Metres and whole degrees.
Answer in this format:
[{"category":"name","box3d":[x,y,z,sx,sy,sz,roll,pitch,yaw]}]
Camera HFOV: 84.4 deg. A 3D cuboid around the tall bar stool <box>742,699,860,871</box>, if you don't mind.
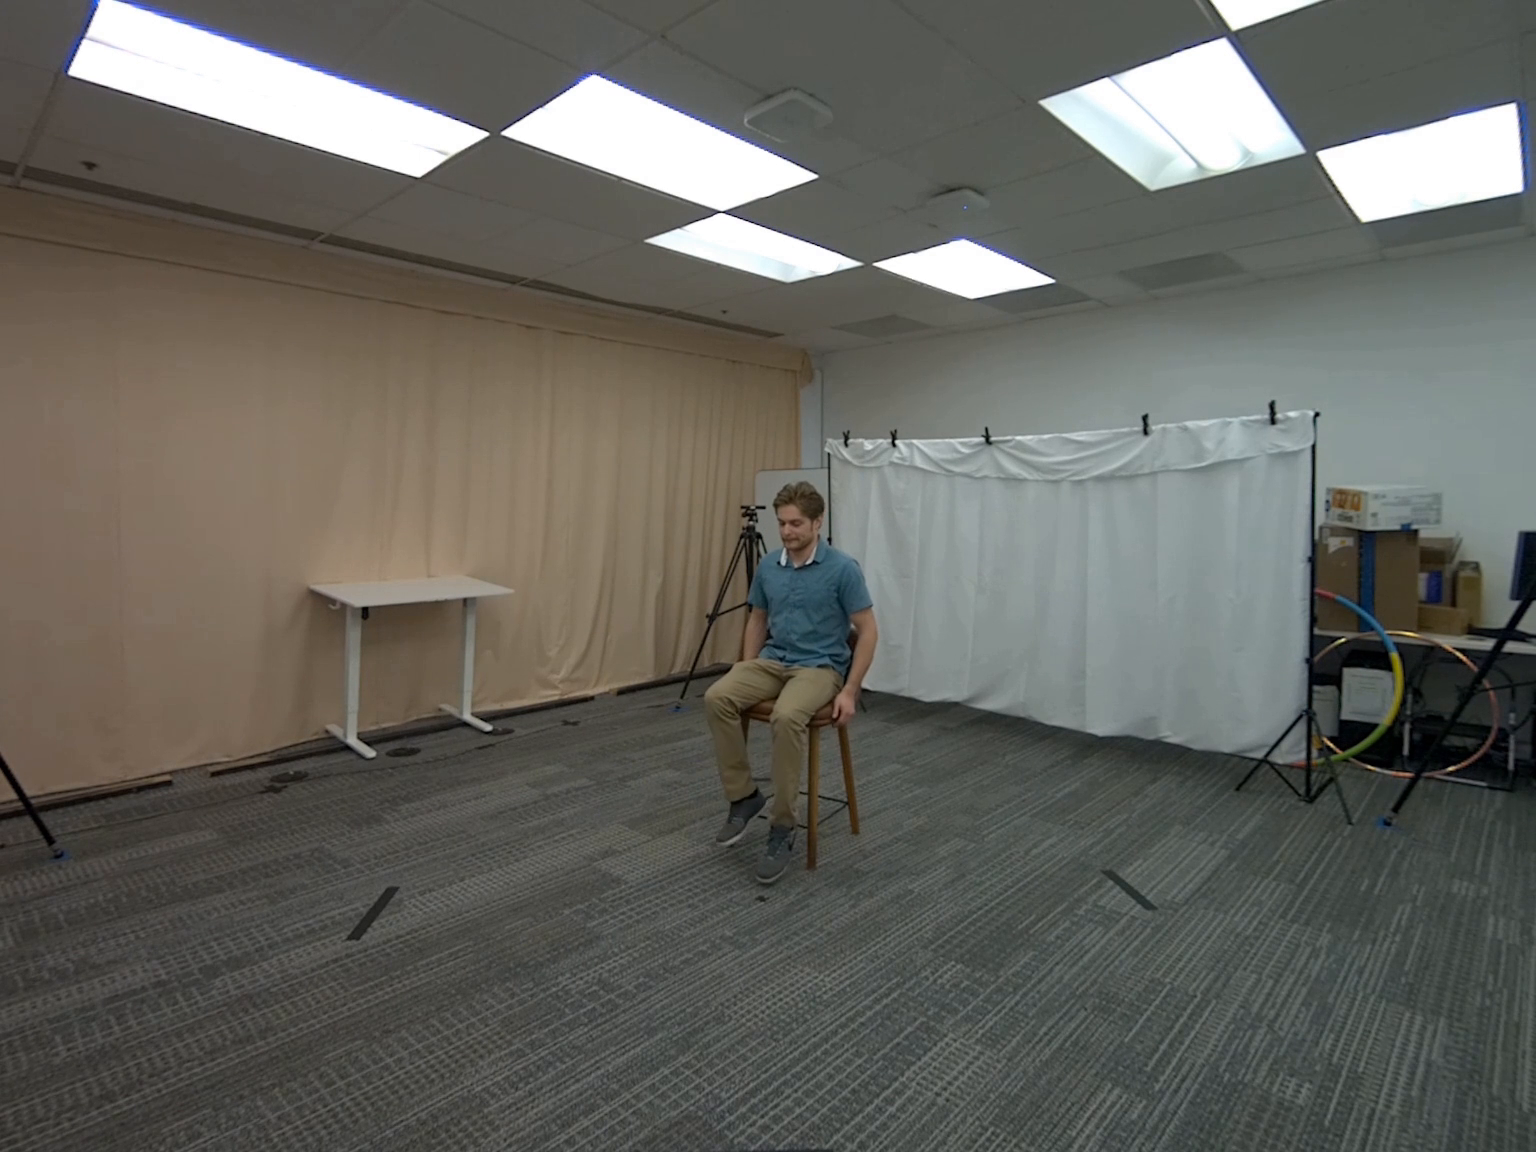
[{"category":"tall bar stool","box3d":[0.130,0.668,3.491,0.471,0.889,0.454,4,2,33]}]
